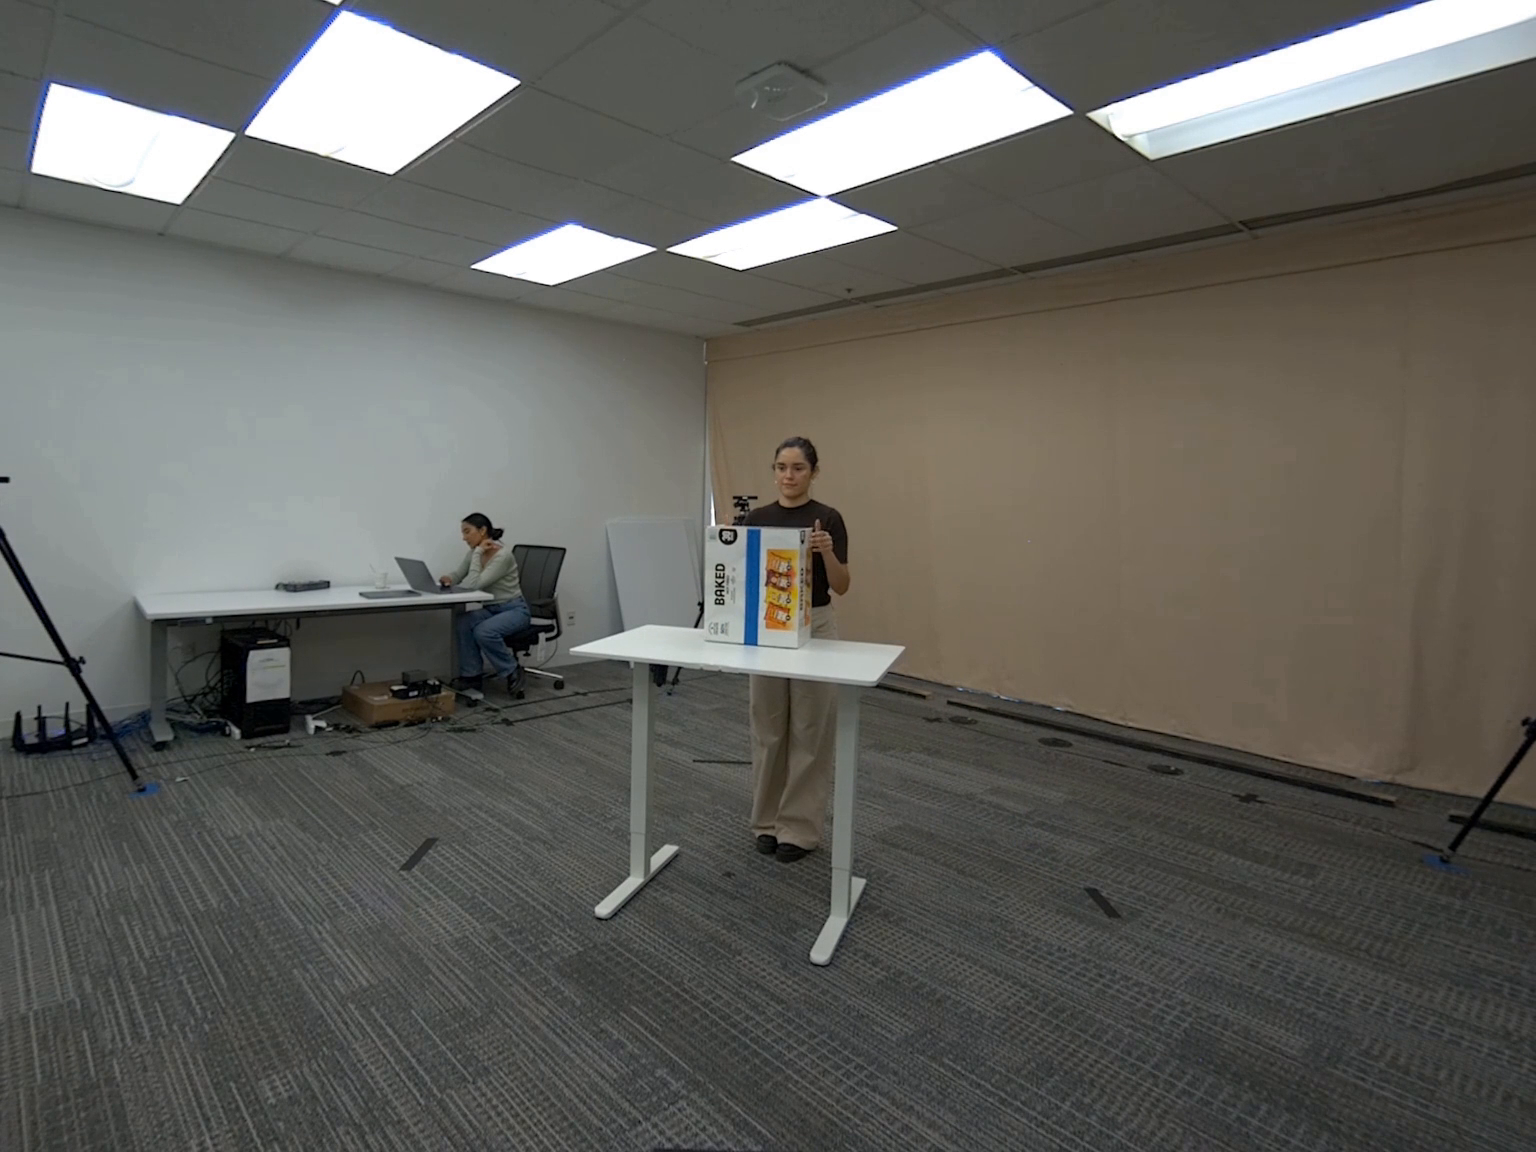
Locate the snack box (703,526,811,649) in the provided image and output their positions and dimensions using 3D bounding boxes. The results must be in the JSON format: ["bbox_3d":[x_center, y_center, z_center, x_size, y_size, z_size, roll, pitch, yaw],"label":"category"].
[{"bbox_3d":[-0.038,0.030,2.990,0.345,0.404,0.203,3,4,18],"label":"snack box"}]
